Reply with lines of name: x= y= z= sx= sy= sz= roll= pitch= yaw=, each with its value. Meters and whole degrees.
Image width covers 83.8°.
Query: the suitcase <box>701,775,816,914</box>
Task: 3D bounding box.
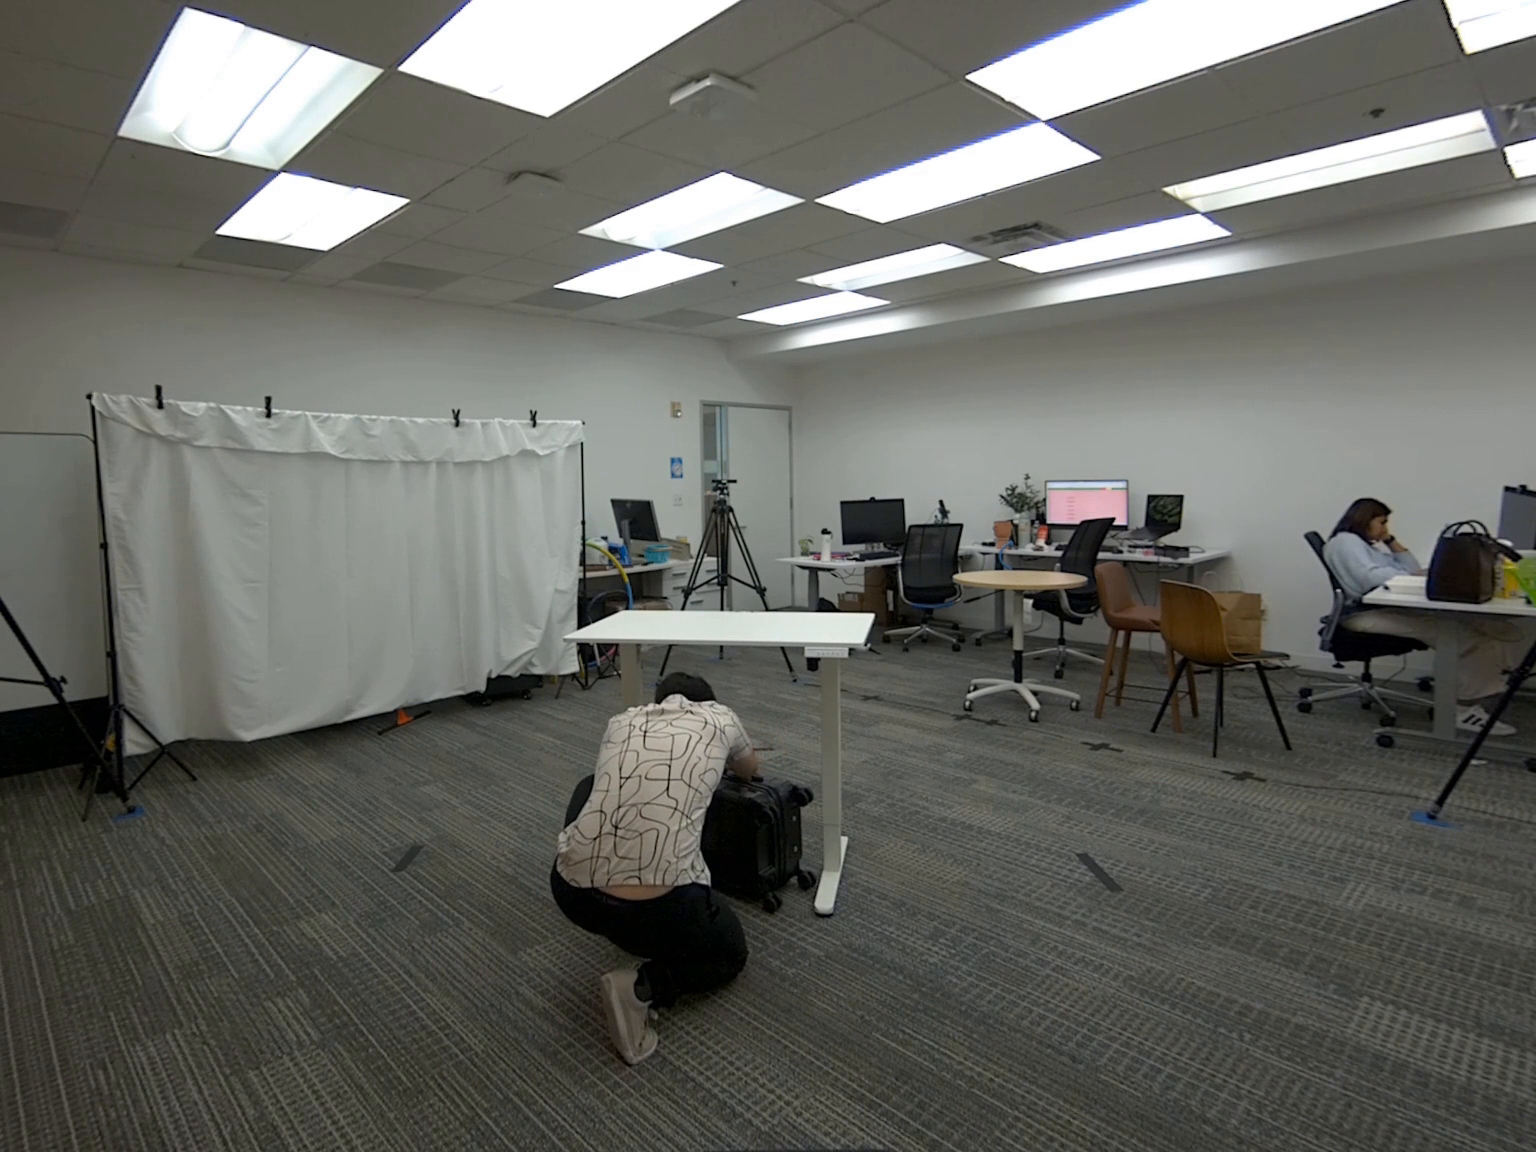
suitcase: x=-0.130 y=0.866 z=2.991 sx=0.566 sy=0.374 sz=0.242 roll=4 pitch=6 yaw=39
